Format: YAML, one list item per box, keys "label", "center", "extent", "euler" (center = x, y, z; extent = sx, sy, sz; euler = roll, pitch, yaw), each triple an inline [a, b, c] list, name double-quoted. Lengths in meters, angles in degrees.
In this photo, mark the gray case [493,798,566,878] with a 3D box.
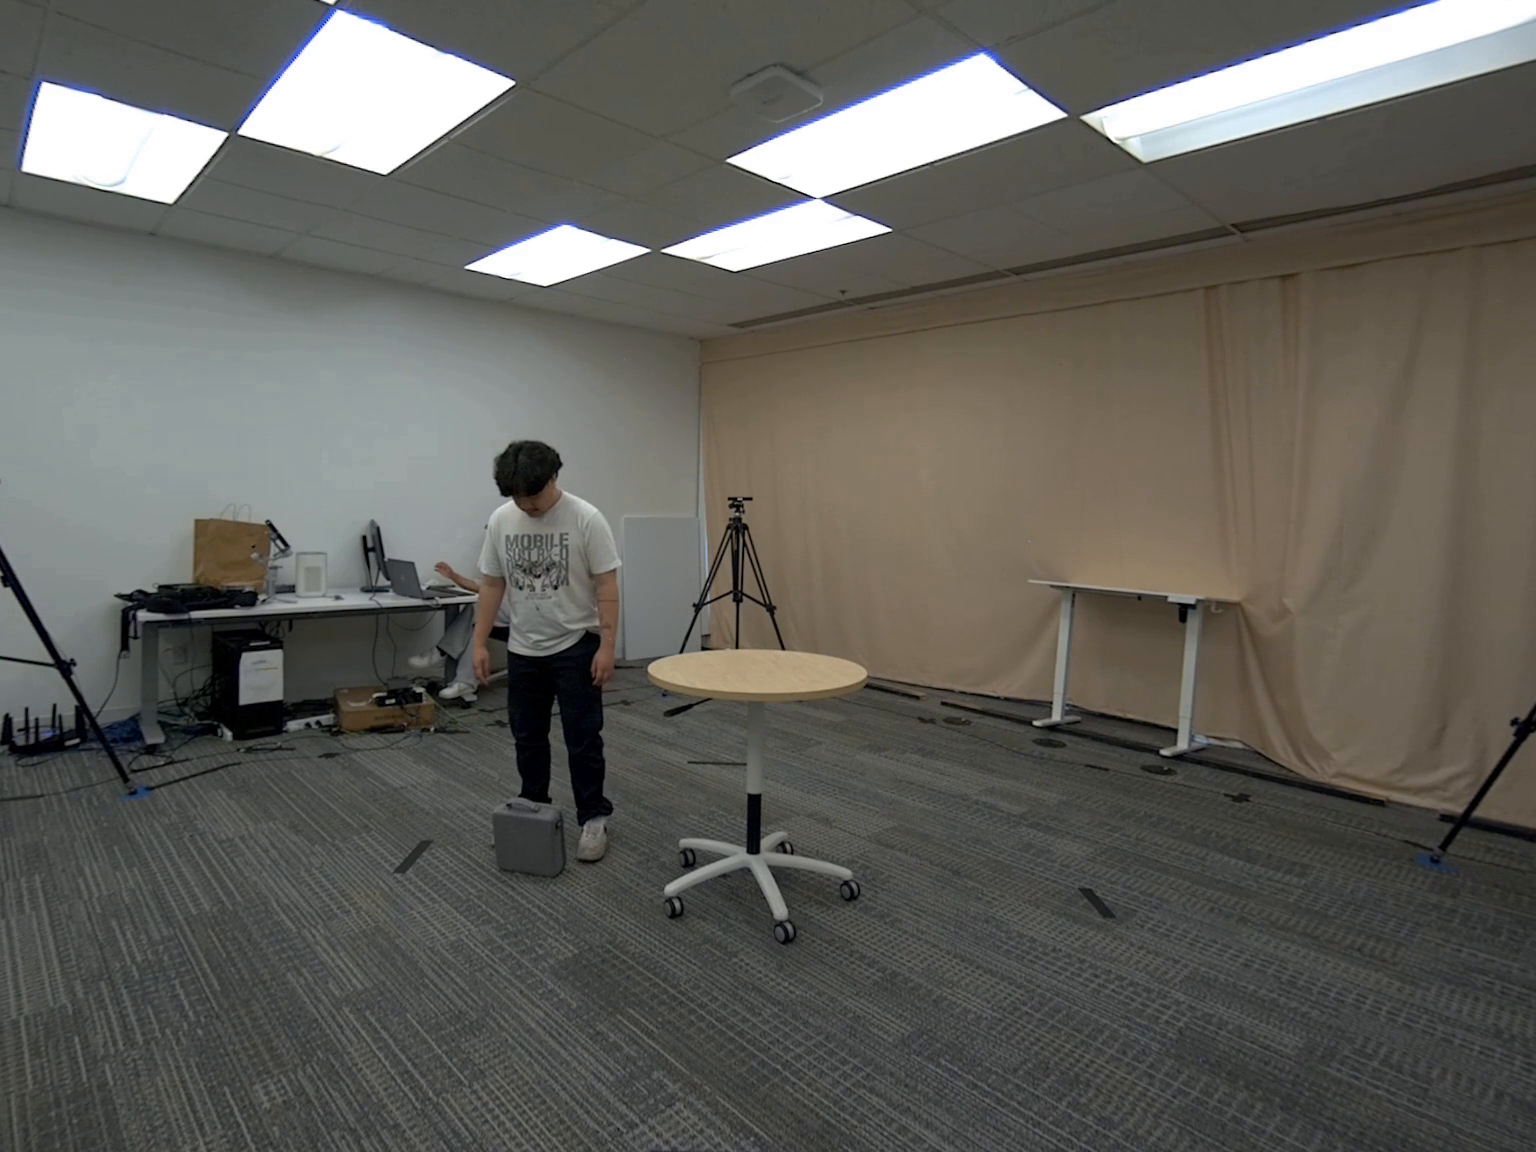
- label: "gray case"
  center: [-0.891, 0.973, 3.082]
  extent: [0.260, 0.258, 0.104]
  euler: [3, 15, 13]
